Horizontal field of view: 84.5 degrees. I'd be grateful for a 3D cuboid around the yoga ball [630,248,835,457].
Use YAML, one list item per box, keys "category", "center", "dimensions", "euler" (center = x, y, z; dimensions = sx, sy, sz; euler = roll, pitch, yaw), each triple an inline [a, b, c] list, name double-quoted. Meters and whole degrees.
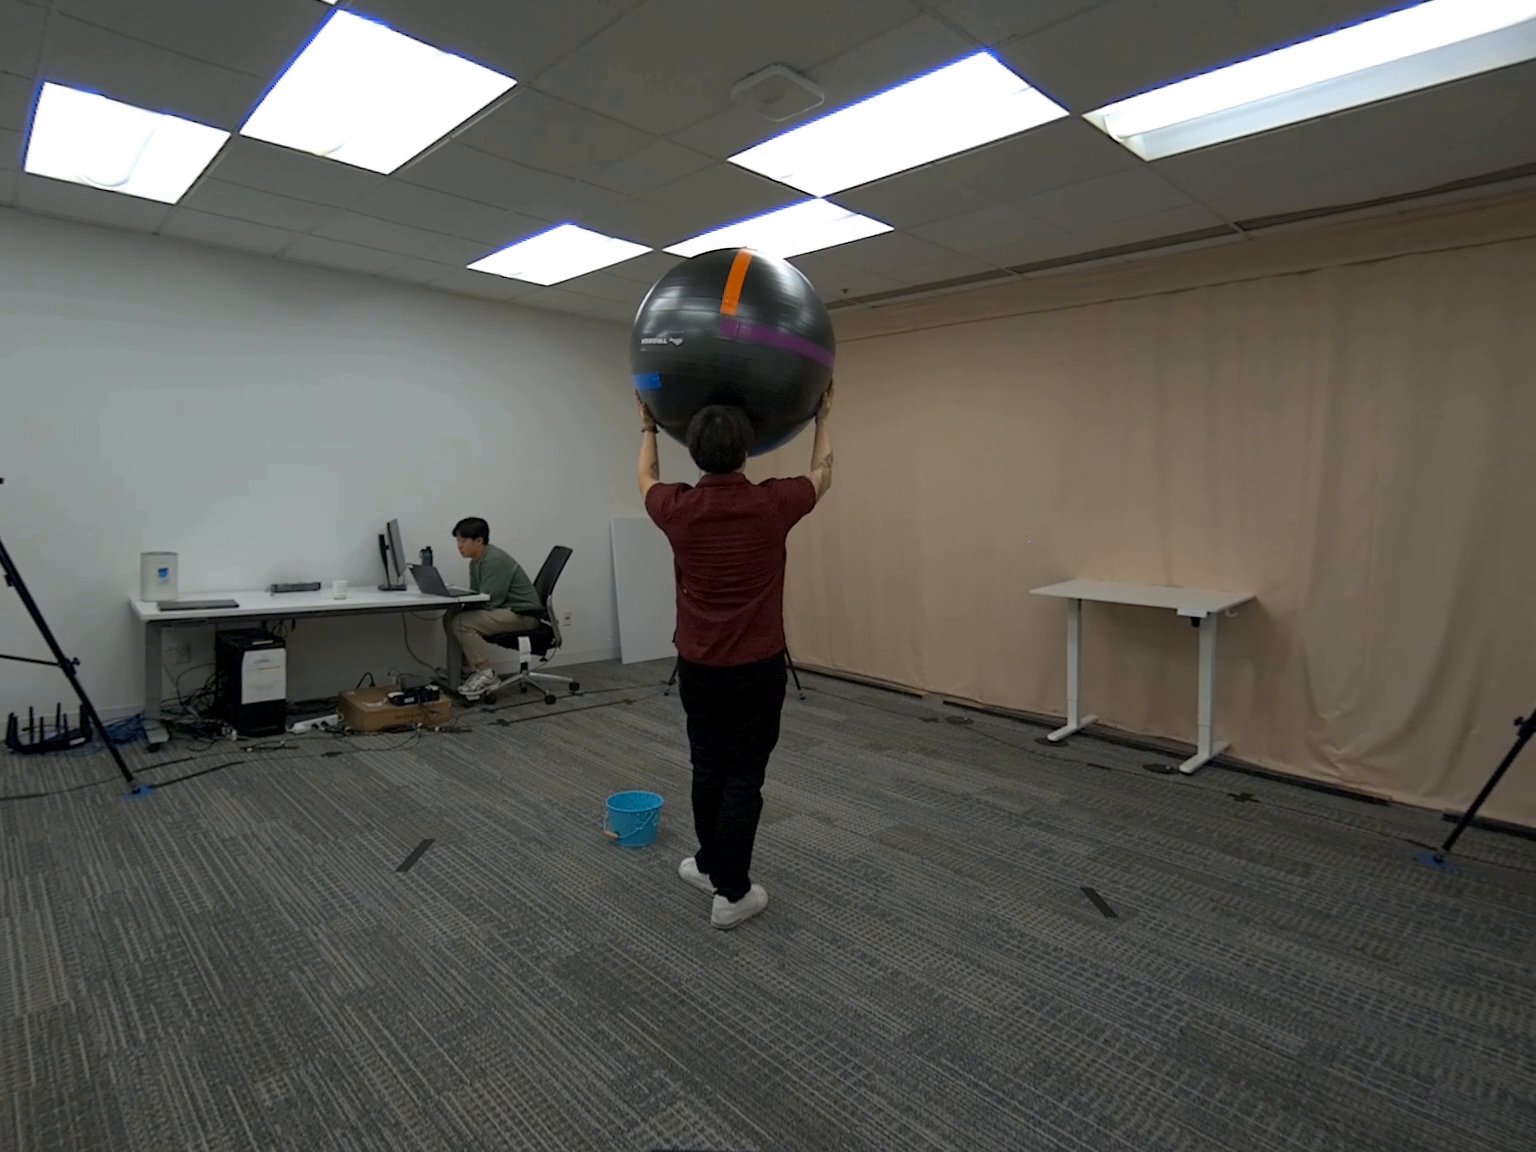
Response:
- category: "yoga ball"
  center: [-0.136, -0.812, 3.104]
  dimensions: [0.757, 0.756, 0.761]
  euler: [1, 4, -1]
